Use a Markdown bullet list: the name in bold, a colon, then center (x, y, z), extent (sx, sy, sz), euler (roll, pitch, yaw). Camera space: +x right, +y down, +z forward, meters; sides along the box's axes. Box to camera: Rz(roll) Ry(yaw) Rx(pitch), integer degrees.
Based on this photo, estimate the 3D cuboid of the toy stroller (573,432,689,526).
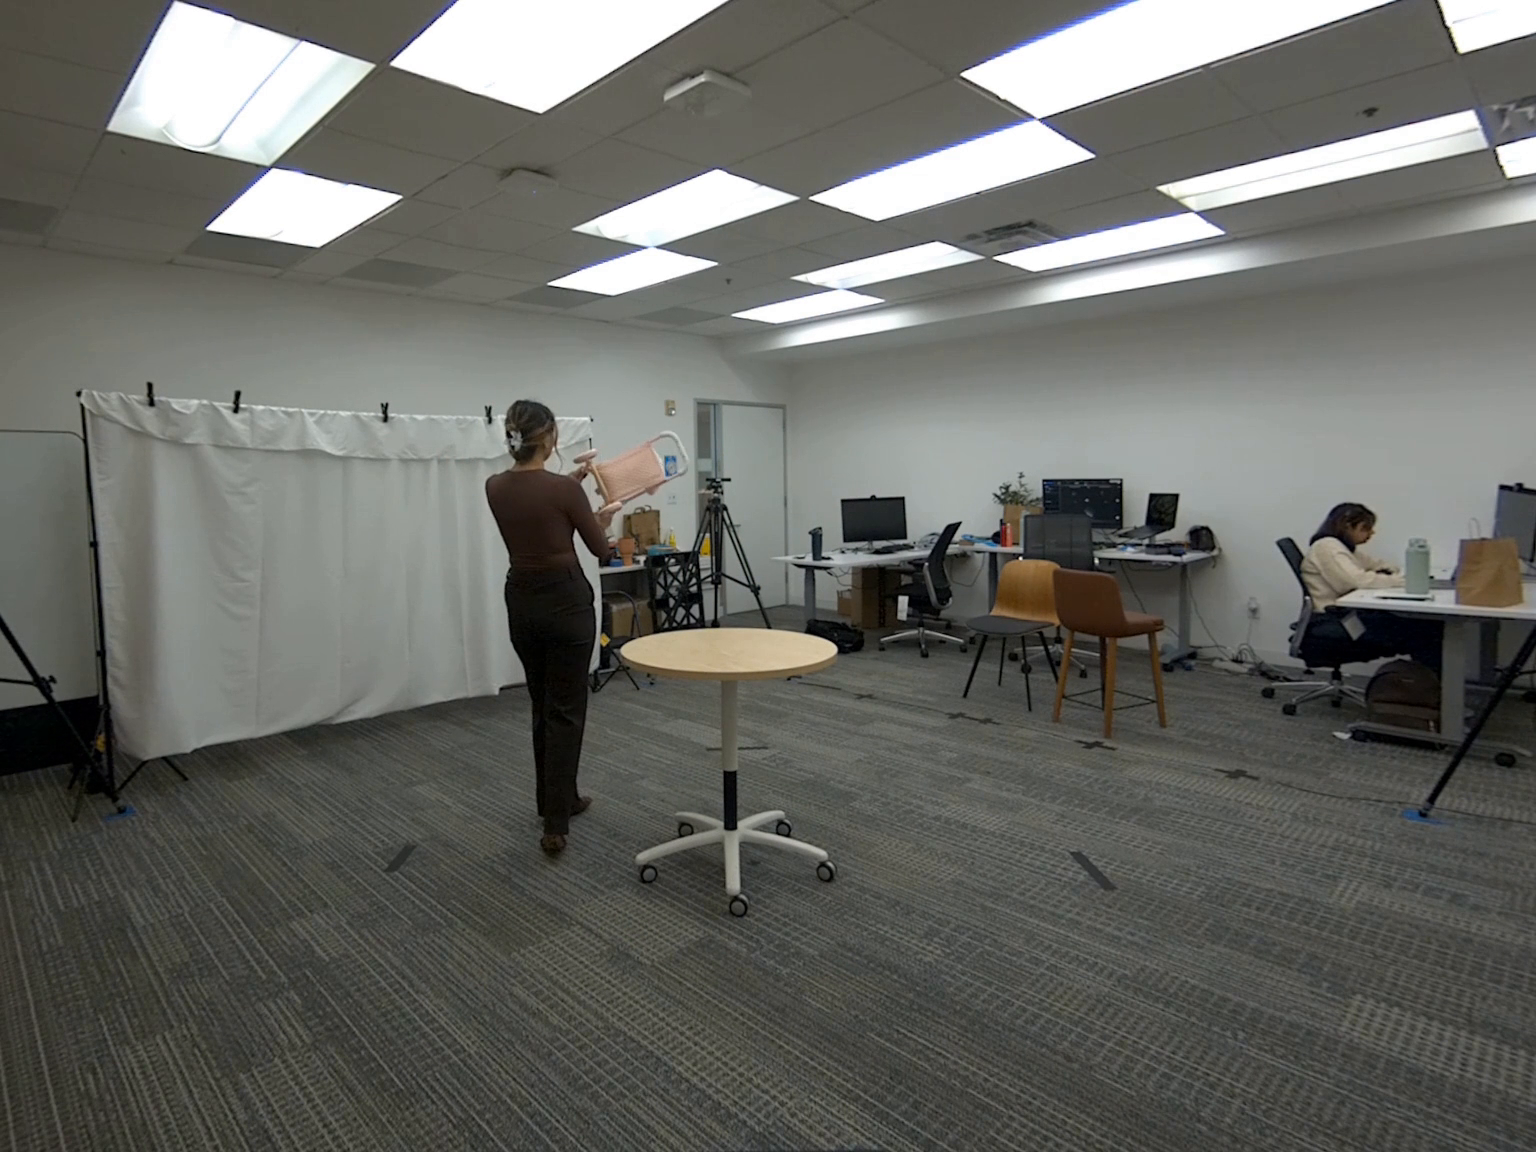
- **toy stroller**: center (-0.654, -0.422, 3.761), extent (0.528, 0.283, 0.344), euler (-28, -3, -31)
